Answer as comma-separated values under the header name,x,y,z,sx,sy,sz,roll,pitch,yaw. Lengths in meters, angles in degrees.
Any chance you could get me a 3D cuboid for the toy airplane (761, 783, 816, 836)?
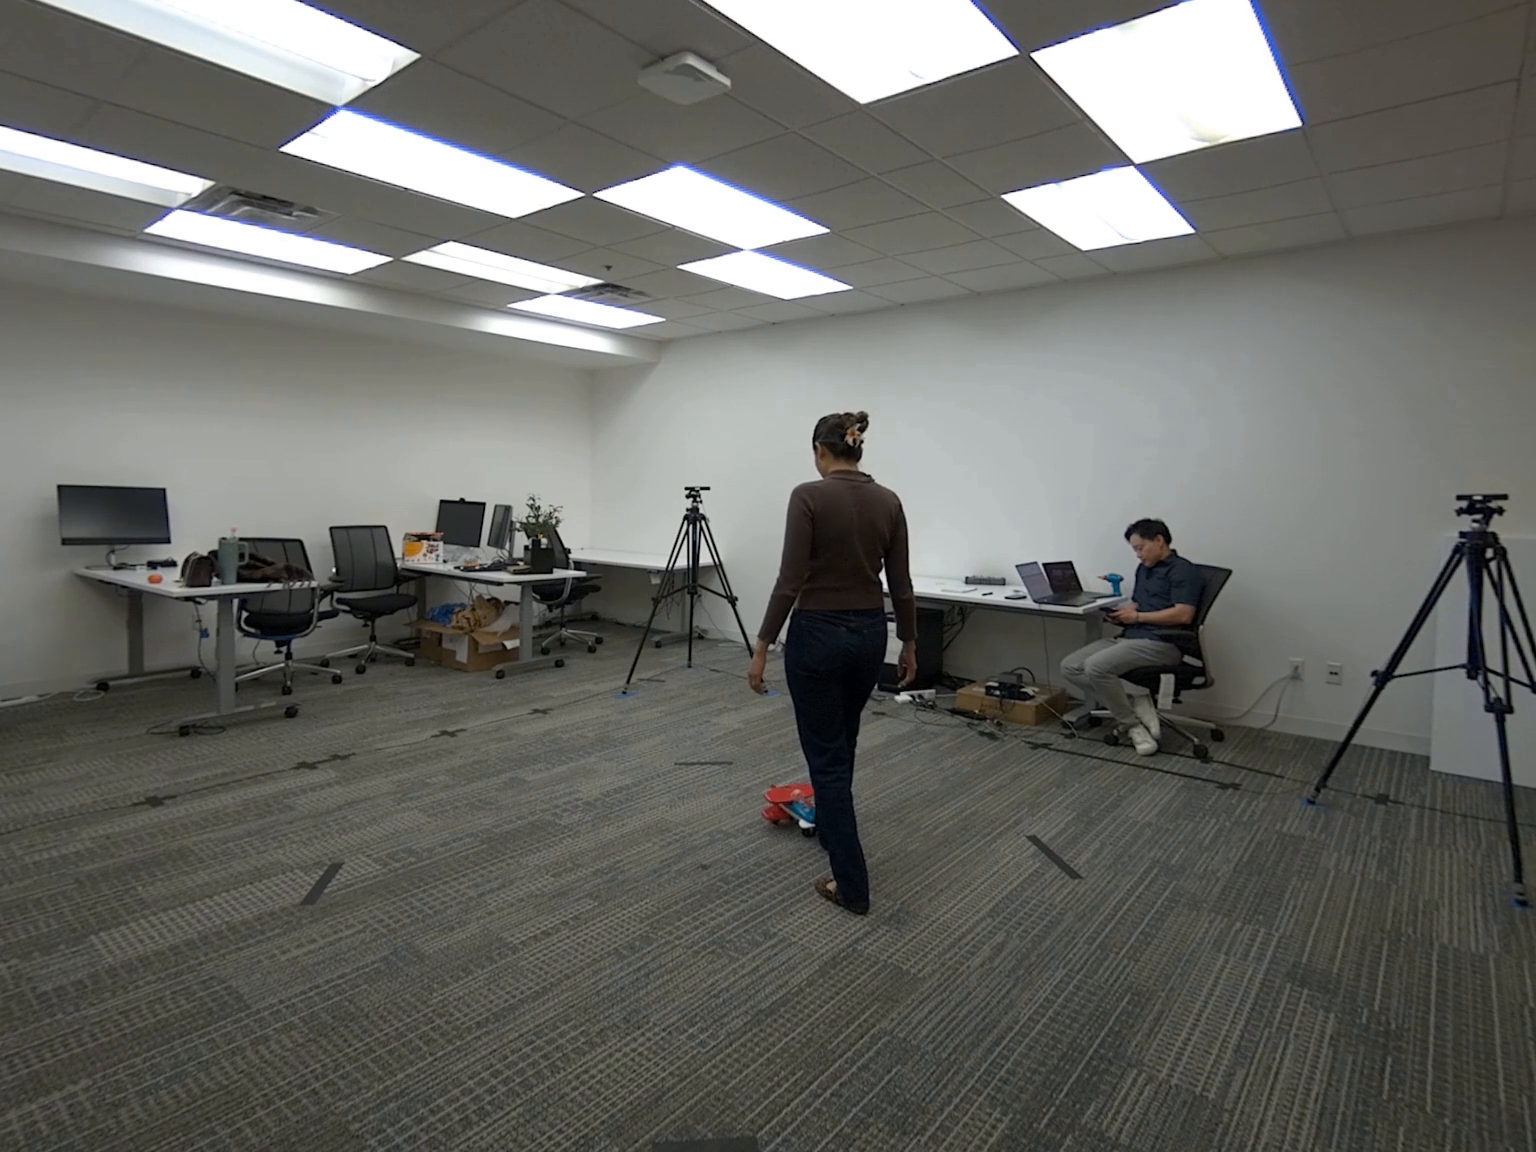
name,x,y,z,sx,sy,sz,roll,pitch,yaw
toy airplane,0.117,0.956,3.503,0.266,0.156,0.245,3,5,27
